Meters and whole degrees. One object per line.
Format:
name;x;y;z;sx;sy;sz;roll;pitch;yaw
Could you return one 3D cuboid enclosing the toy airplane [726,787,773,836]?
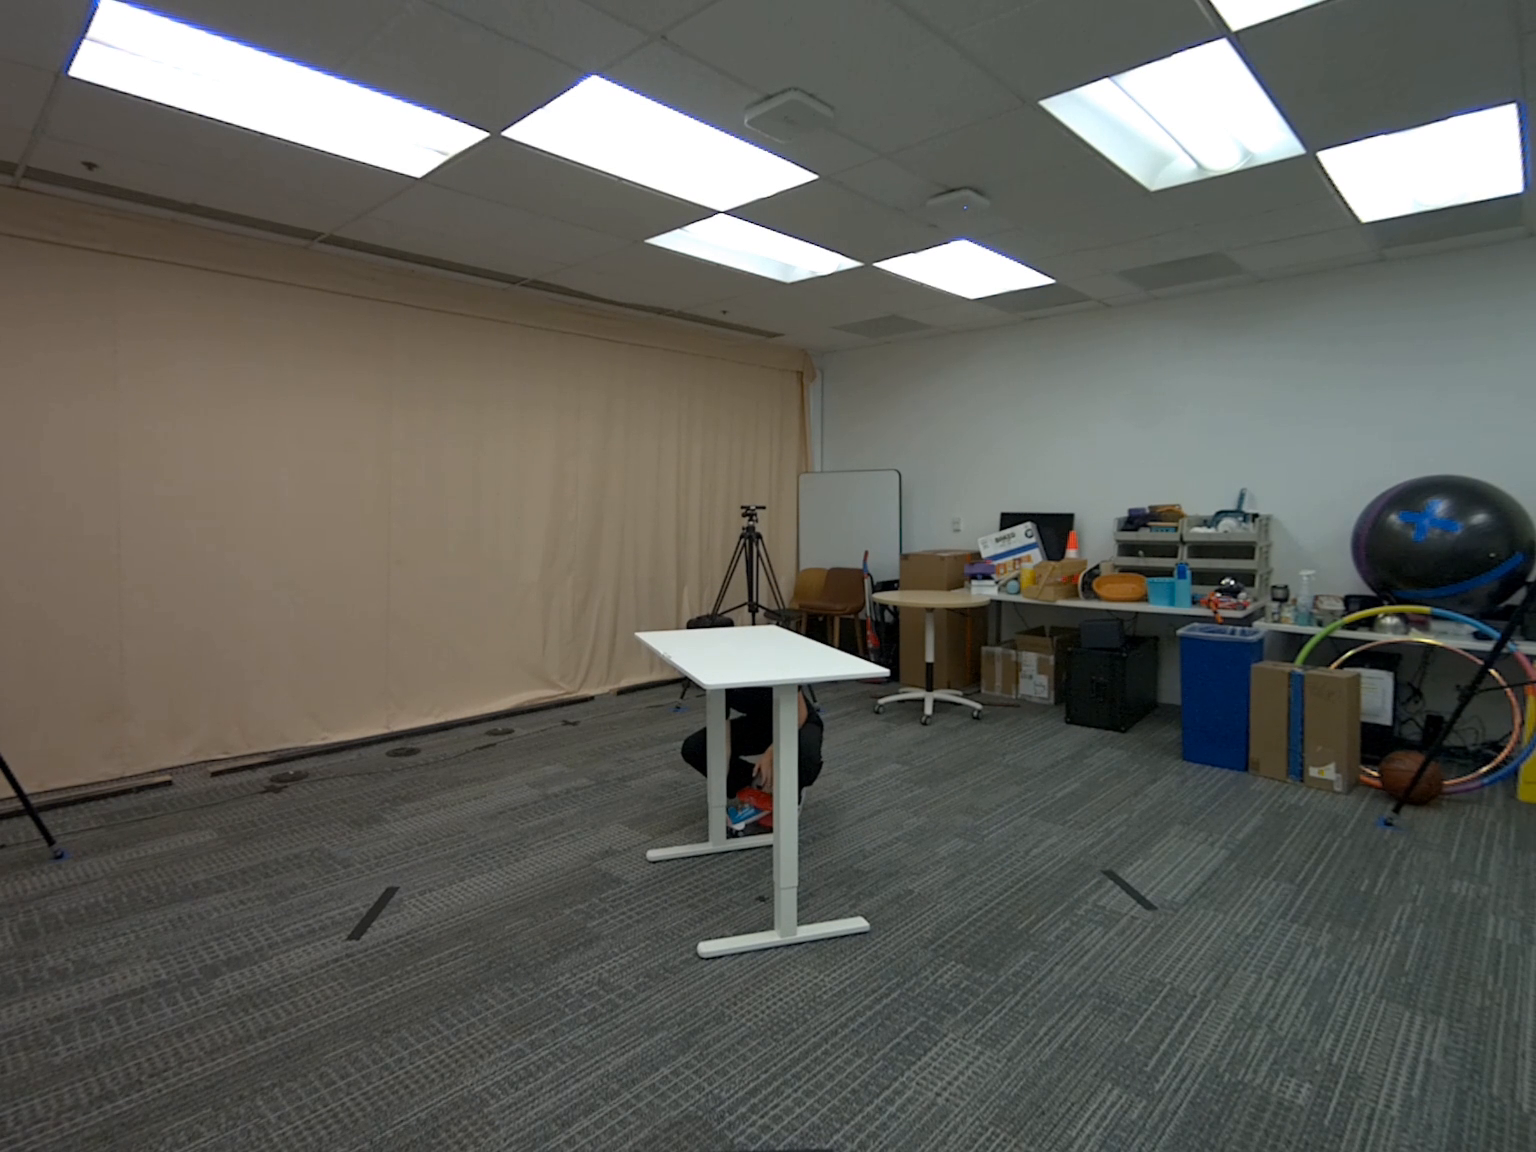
toy airplane;-0.051;1.008;3.570;0.257;0.156;0.253;3;4;23
